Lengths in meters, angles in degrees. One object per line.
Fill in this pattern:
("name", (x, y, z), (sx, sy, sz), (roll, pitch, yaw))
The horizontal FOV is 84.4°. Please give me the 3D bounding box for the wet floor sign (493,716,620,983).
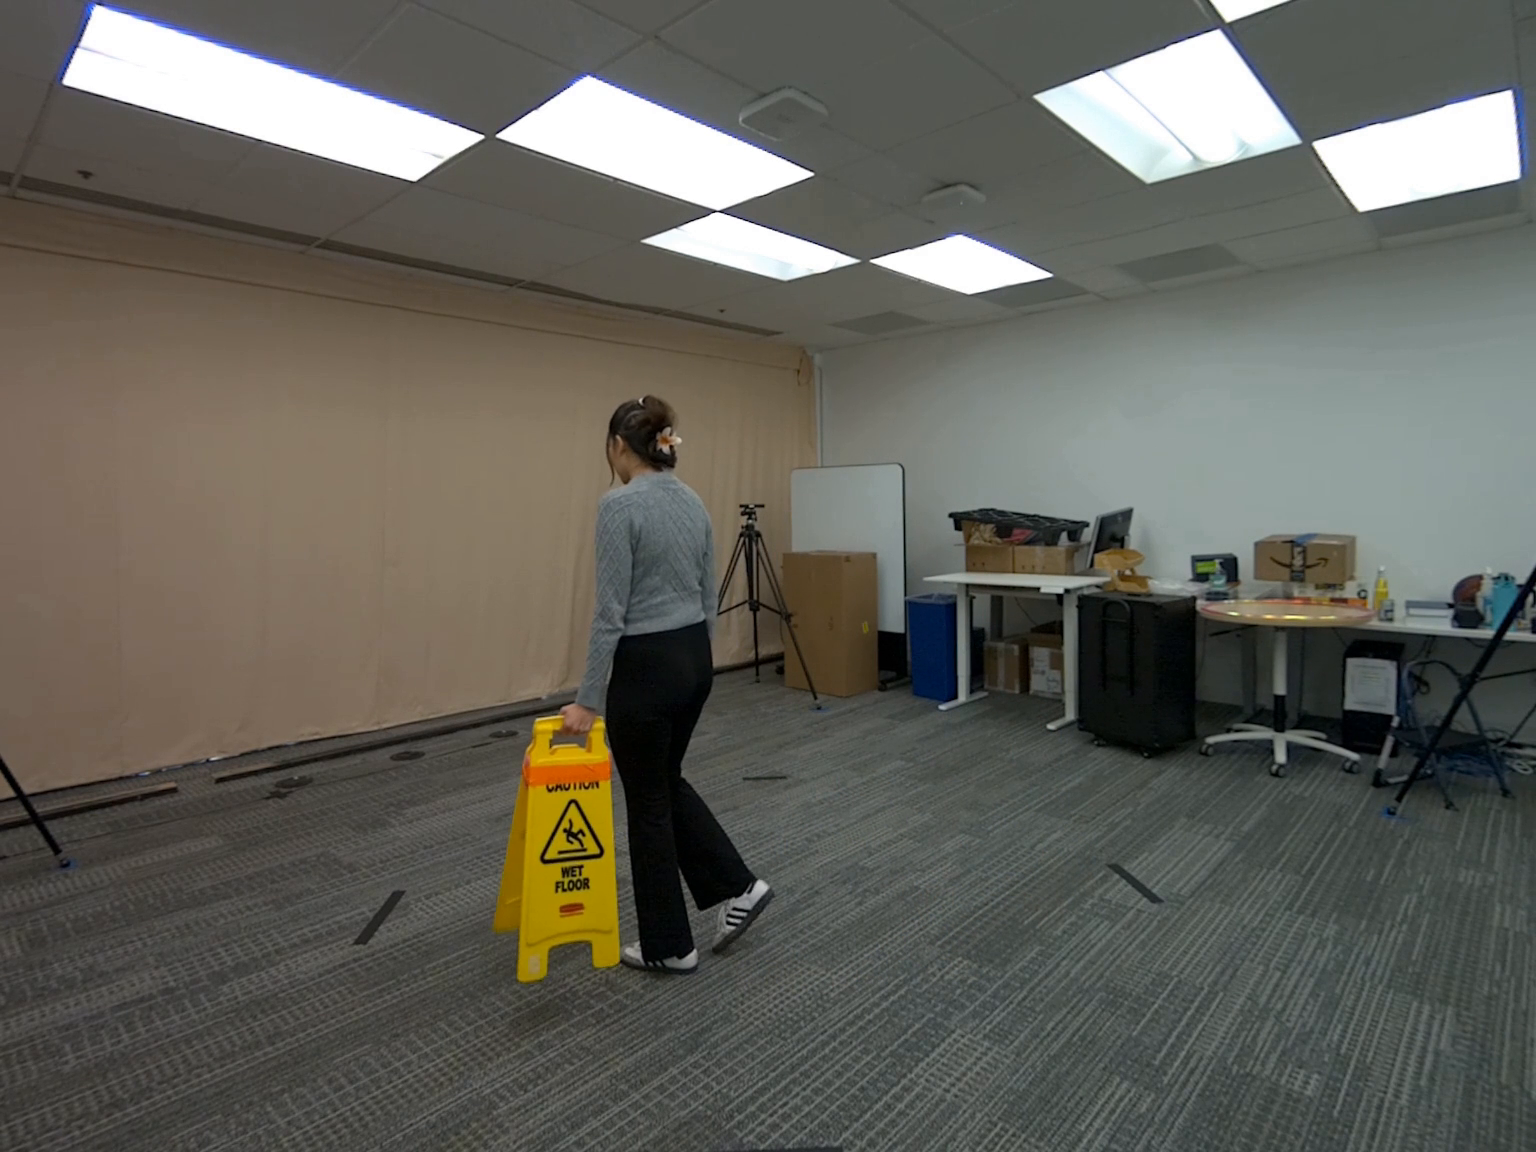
("wet floor sign", (-0.569, 0.713, 2.330), (0.274, 0.646, 0.298), (4, 0, -30))
